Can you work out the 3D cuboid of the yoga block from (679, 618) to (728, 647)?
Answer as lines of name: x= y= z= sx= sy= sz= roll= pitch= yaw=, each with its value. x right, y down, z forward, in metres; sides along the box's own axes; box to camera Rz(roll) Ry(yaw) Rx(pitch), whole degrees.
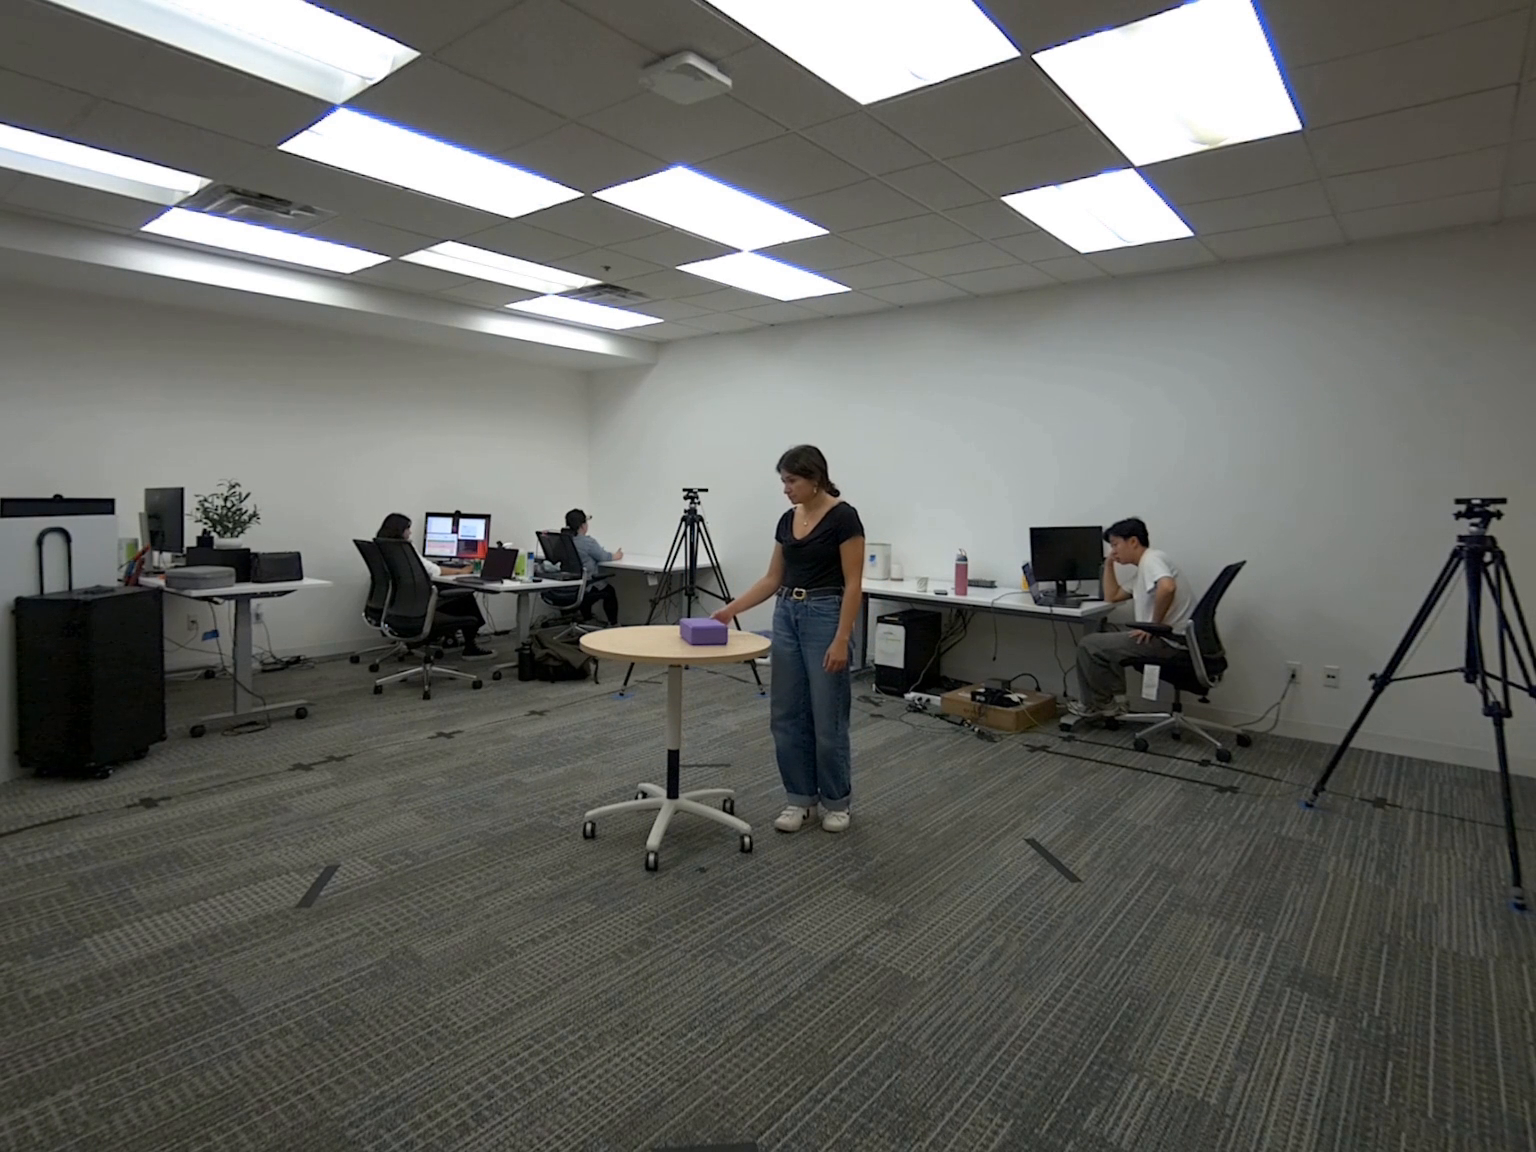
yoga block: x=-0.266 y=0.214 z=3.414 sx=0.146 sy=0.076 sz=0.234 roll=-1 pitch=5 yaw=-17
